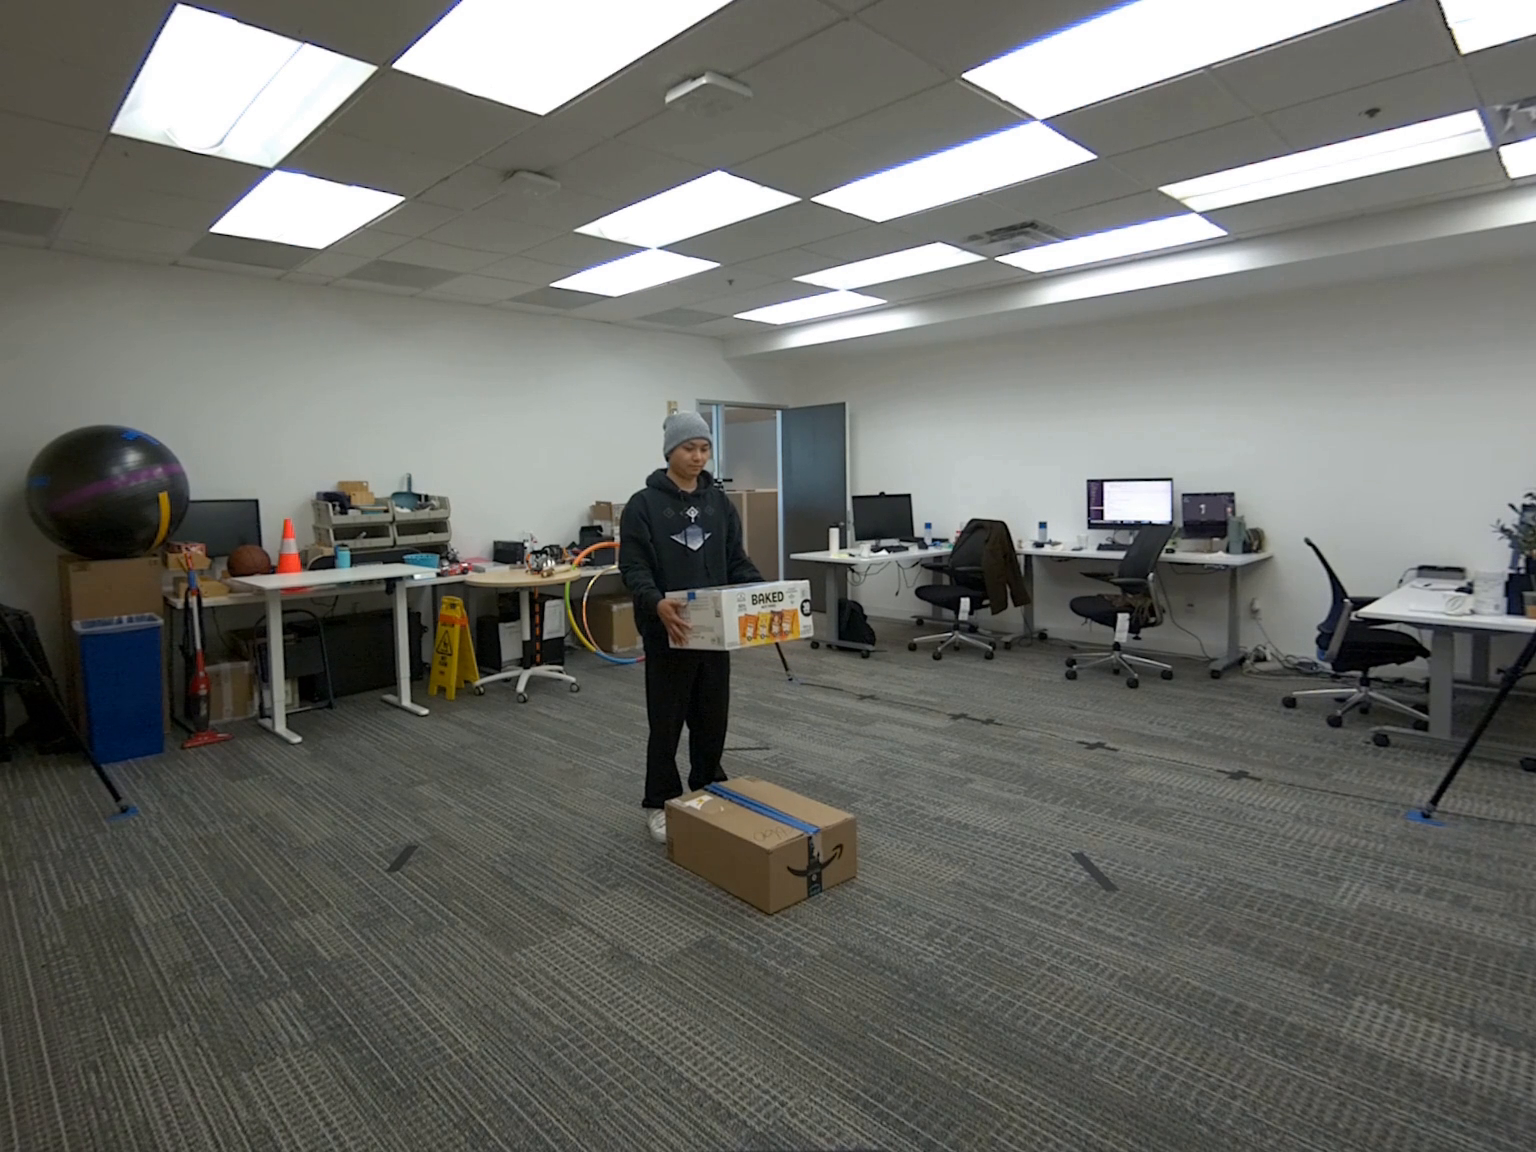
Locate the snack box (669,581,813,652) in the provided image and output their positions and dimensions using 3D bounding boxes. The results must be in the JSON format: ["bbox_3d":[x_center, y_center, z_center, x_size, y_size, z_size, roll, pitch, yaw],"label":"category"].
[{"bbox_3d":[-0.103,0.141,3.084,0.394,0.206,0.349,-5,0,-39],"label":"snack box"}]
